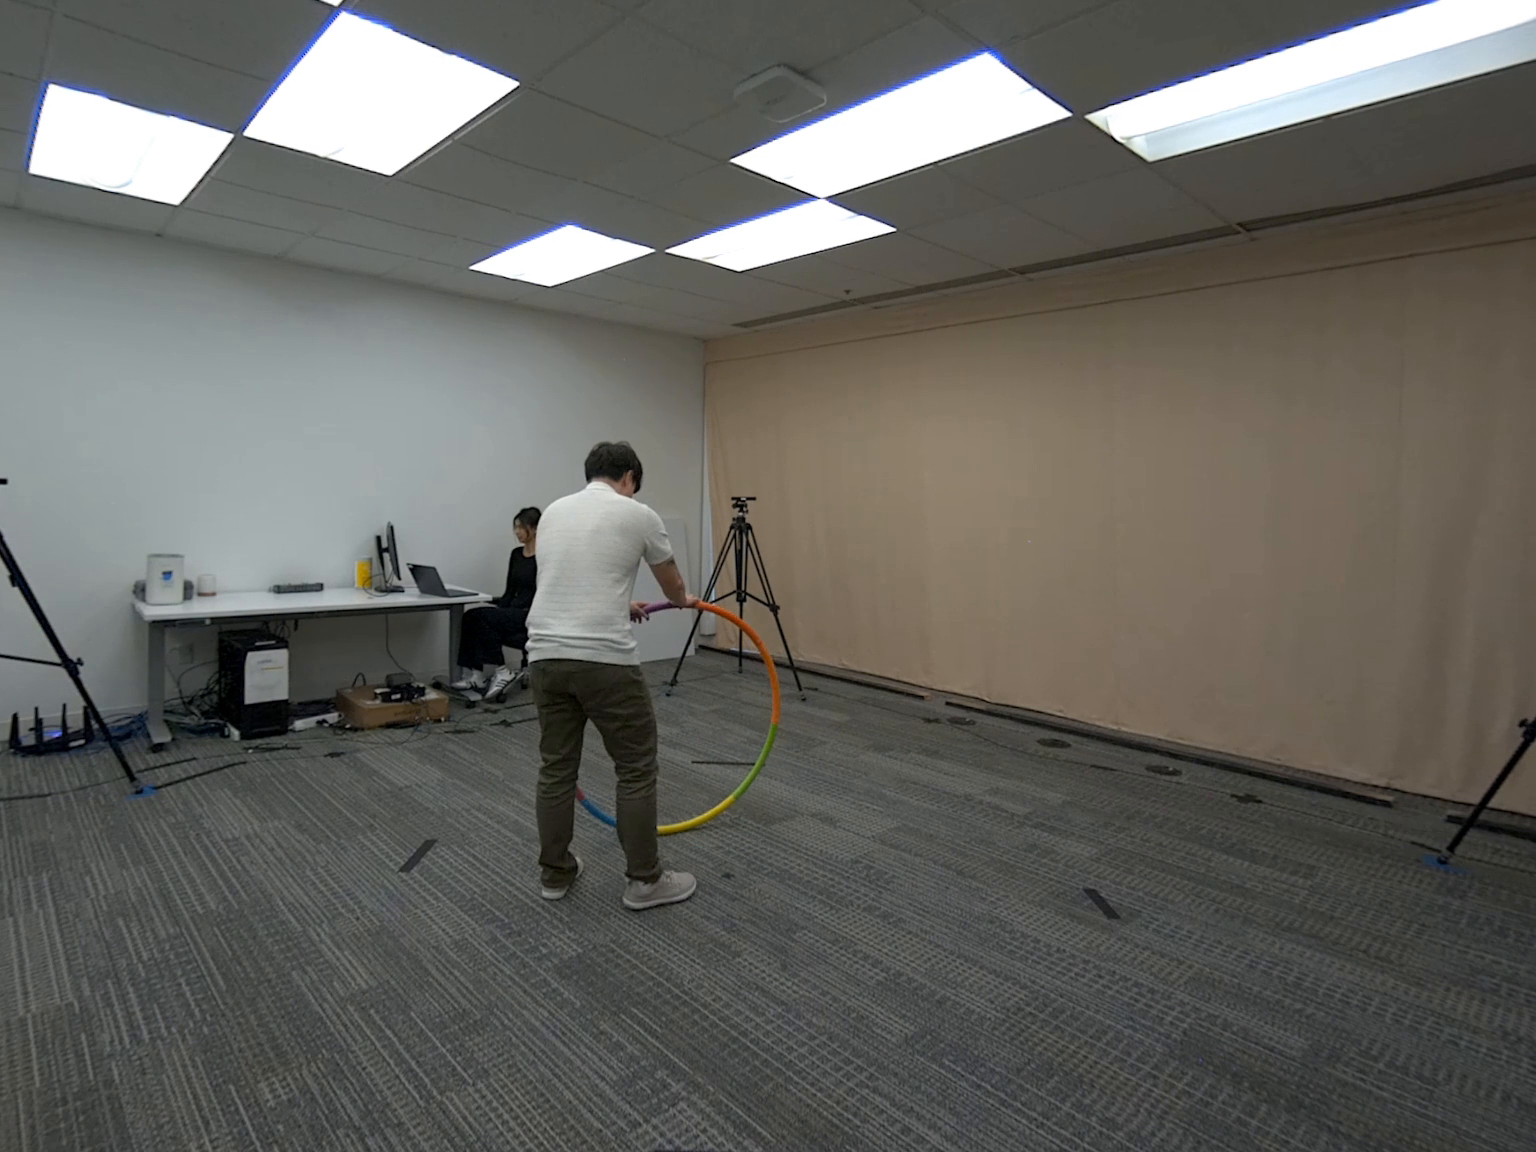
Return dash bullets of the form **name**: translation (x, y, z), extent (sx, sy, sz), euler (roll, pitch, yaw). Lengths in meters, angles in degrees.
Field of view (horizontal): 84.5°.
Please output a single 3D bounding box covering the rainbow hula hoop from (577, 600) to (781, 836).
- **rainbow hula hoop**: translation (-0.387, 0.583, 3.457), extent (0.960, 0.975, 0.036), euler (-1, 5, -27)
